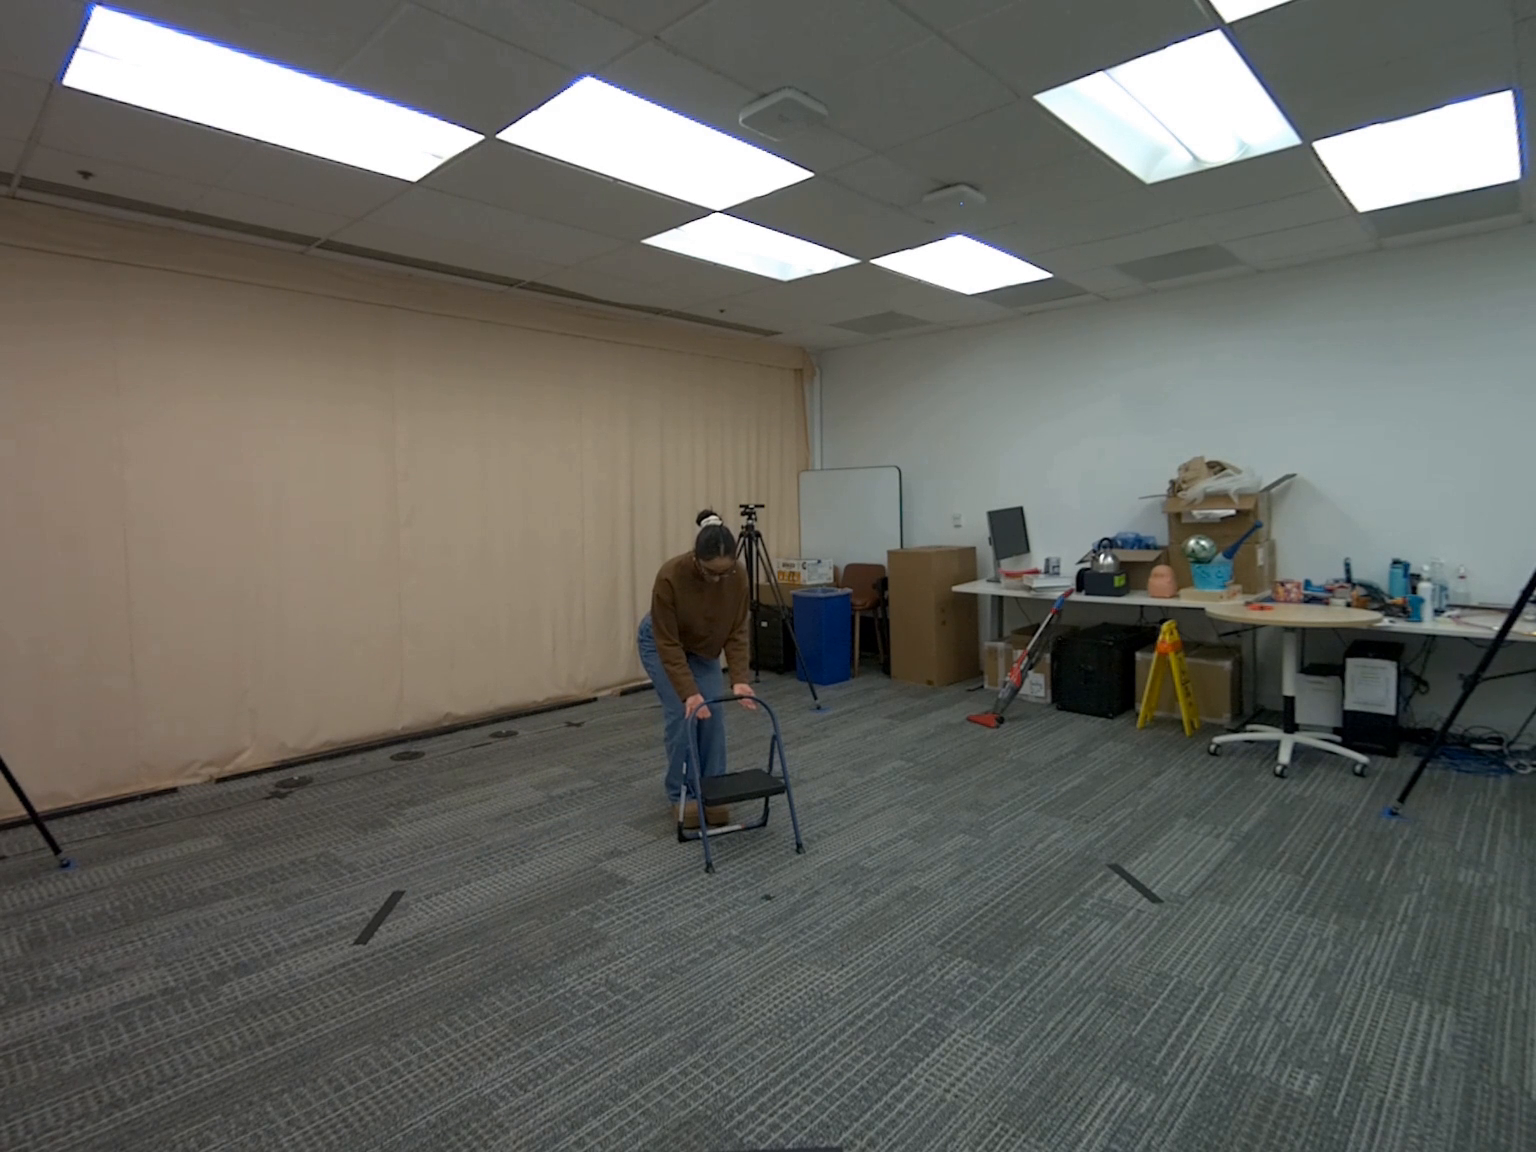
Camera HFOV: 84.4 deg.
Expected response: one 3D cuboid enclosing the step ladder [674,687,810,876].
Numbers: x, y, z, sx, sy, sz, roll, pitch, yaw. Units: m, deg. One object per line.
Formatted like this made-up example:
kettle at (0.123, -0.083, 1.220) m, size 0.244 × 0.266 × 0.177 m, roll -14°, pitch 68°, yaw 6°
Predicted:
step ladder at (-0.115, 0.799, 3.413) m, size 0.420 × 0.605 × 0.358 m, roll -2°, pitch 3°, yaw -27°
